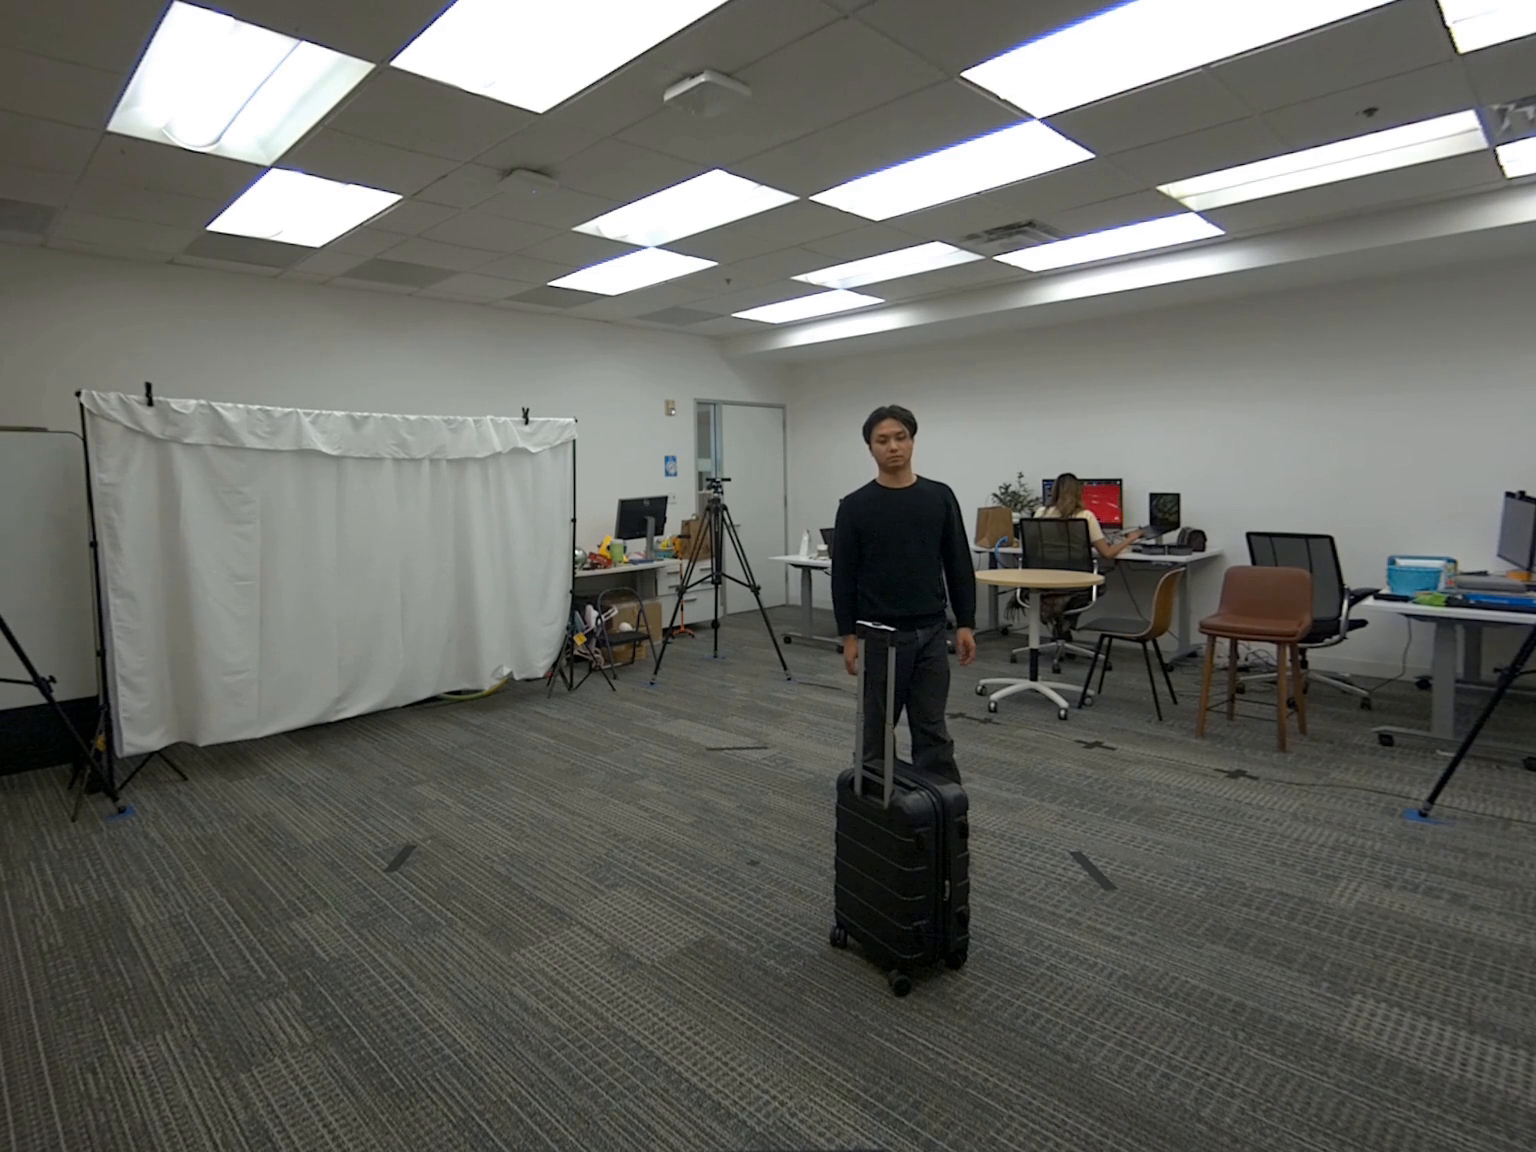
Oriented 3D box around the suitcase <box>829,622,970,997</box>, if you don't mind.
[{"bbox_3d":[0.390,0.632,2.469,0.251,0.977,0.394,0,3,-30],"label":"suitcase"}]
